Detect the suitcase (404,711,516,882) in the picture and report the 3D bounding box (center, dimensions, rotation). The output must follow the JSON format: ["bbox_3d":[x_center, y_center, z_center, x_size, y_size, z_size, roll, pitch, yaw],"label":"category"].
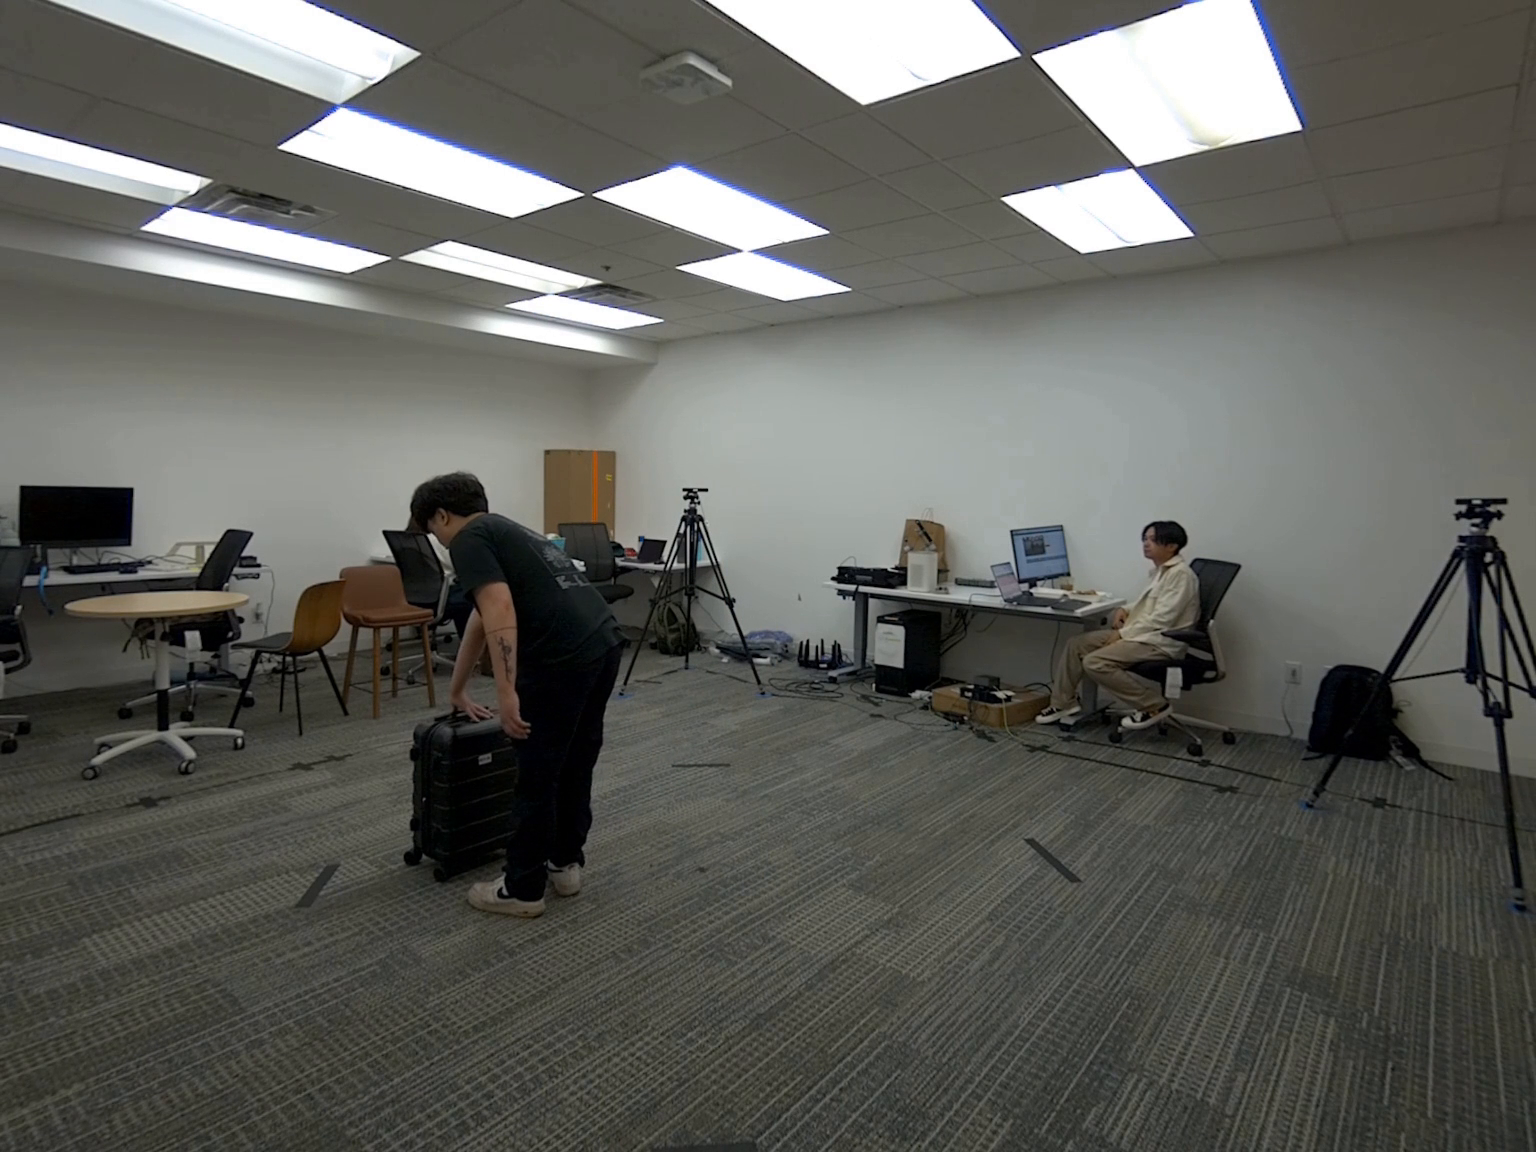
[{"bbox_3d":[-1.125,0.779,3.147,0.257,0.548,0.364,5,4,39],"label":"suitcase"}]
